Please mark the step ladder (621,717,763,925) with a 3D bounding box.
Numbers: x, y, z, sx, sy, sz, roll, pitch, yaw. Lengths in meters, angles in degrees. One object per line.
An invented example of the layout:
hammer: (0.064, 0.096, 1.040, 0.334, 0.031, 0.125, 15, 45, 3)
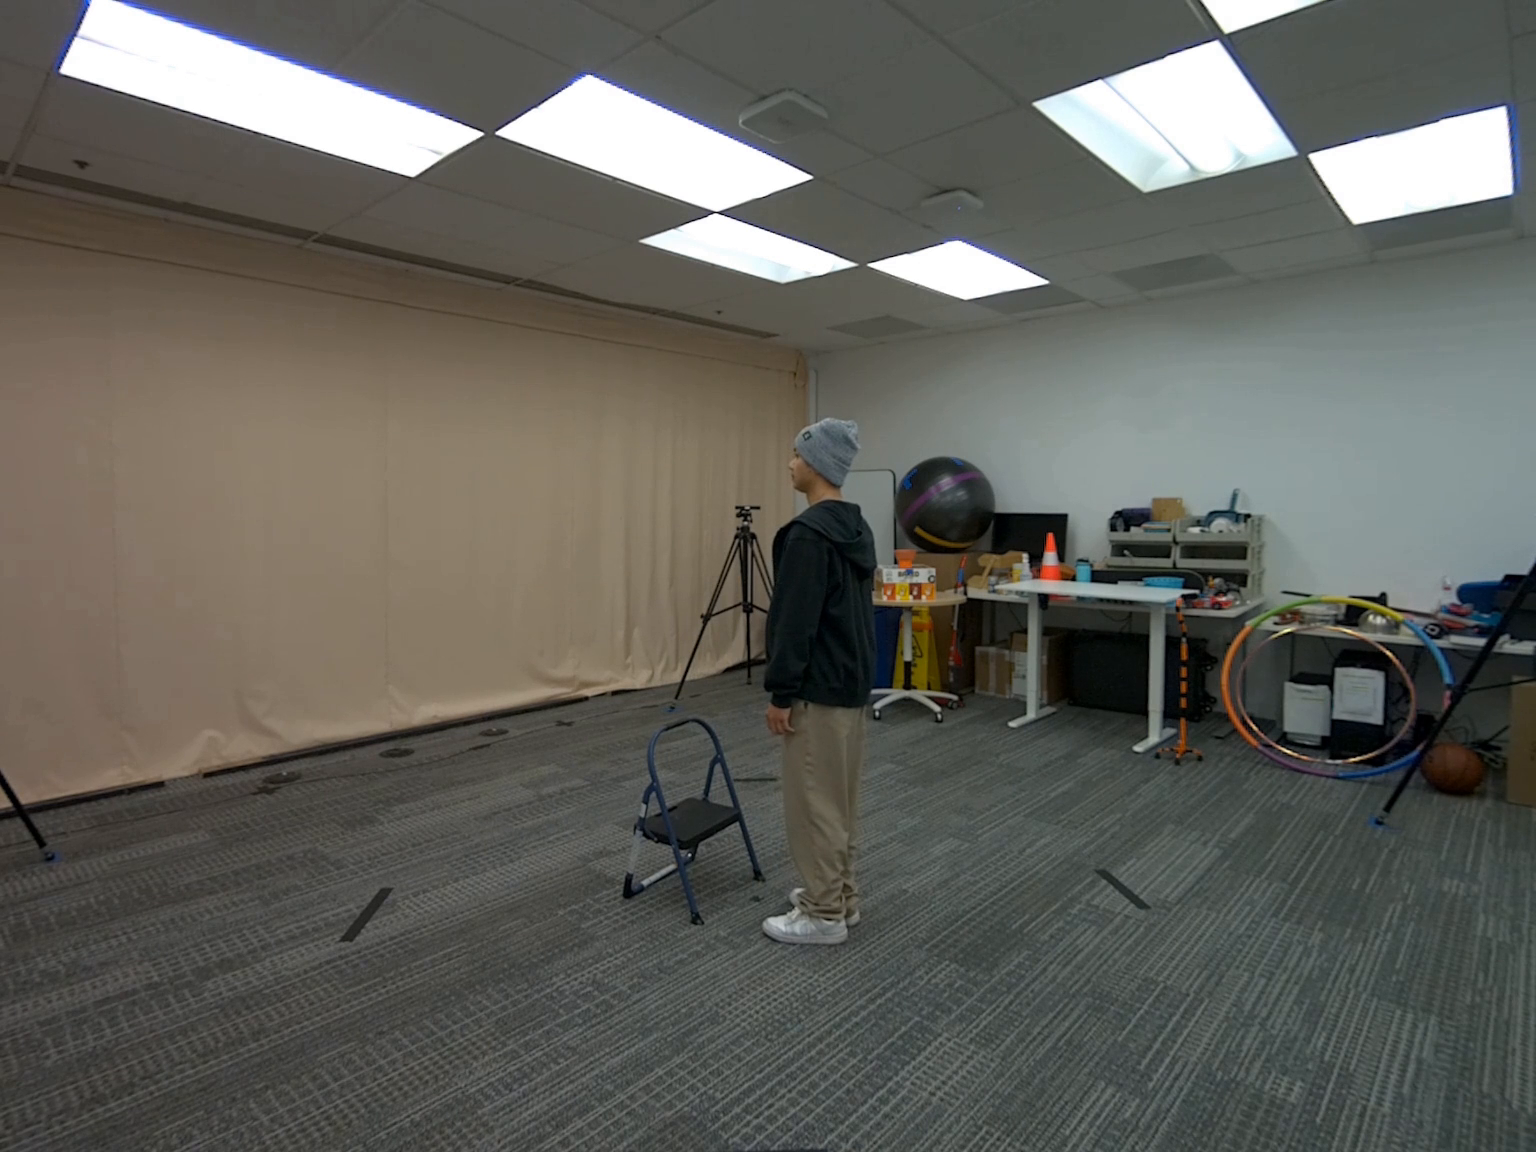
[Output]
step ladder: (-0.266, 0.837, 3.054, 0.360, 0.605, 0.418, 2, 4, 33)
